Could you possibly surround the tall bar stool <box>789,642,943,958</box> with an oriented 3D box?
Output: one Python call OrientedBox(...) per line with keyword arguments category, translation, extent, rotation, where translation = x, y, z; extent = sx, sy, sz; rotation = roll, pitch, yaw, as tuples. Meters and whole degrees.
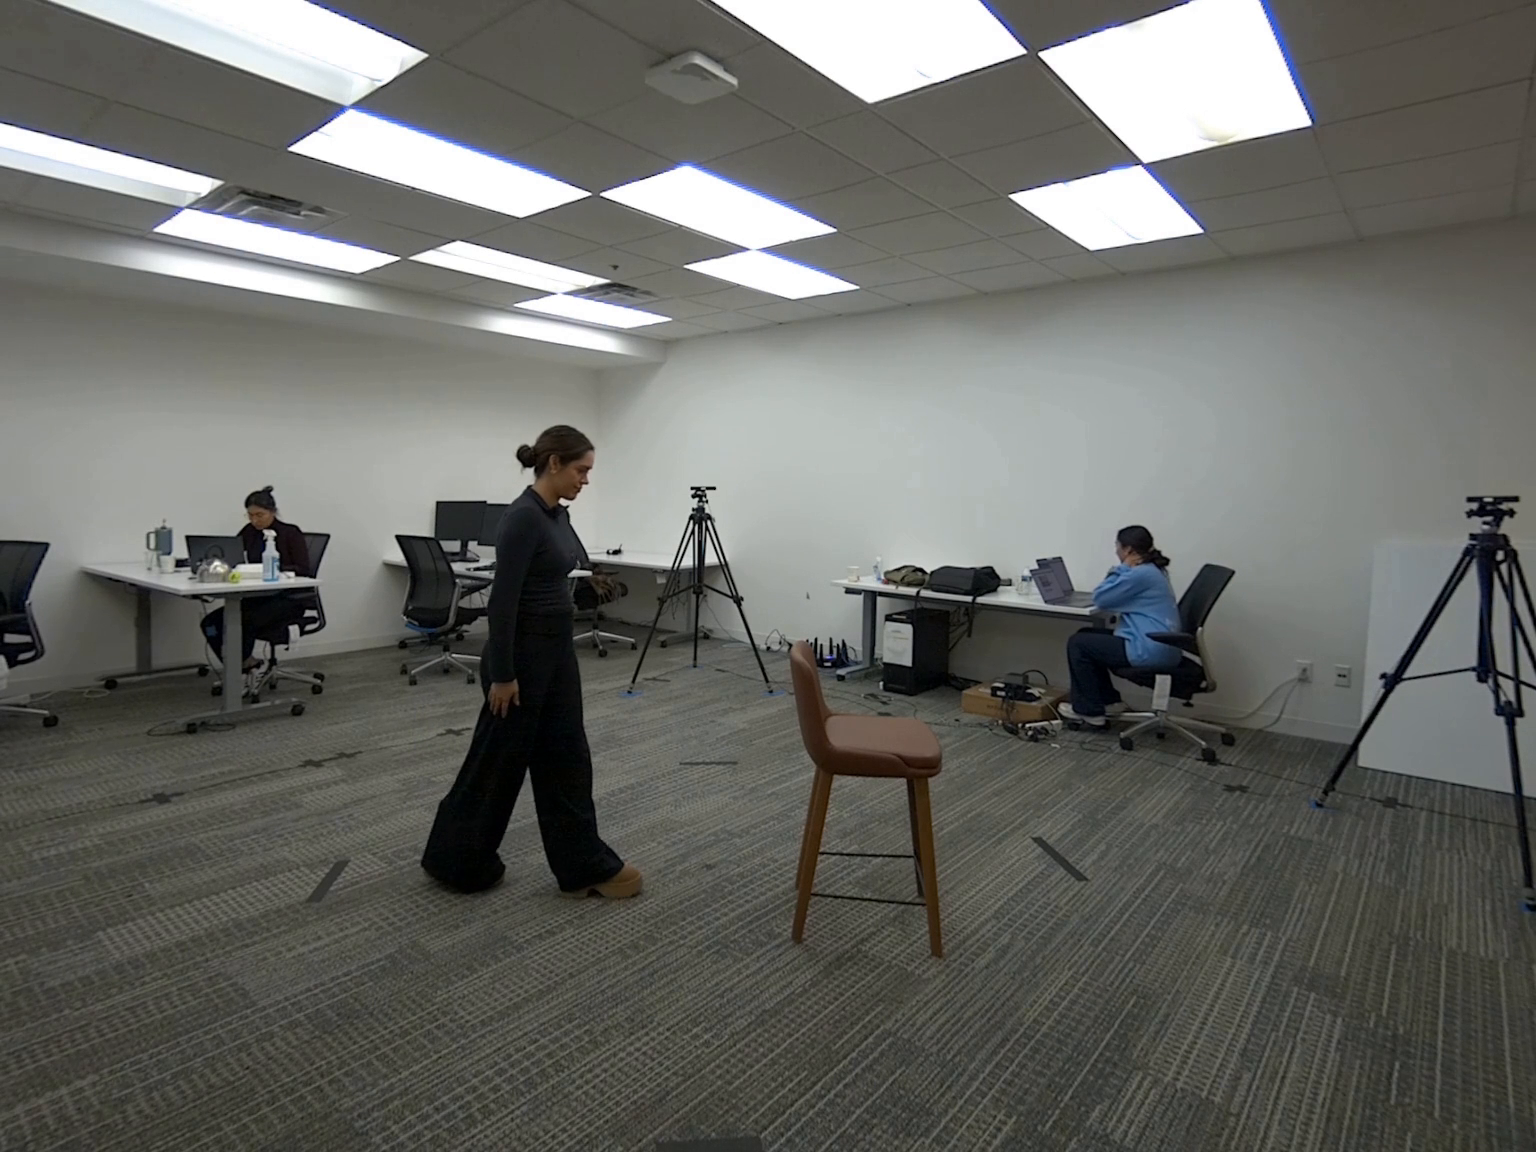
OrientedBox(category="tall bar stool", translation=(0.306, 0.678, 2.743), extent=(0.471, 0.887, 0.454), rotation=(0, 3, 6))
